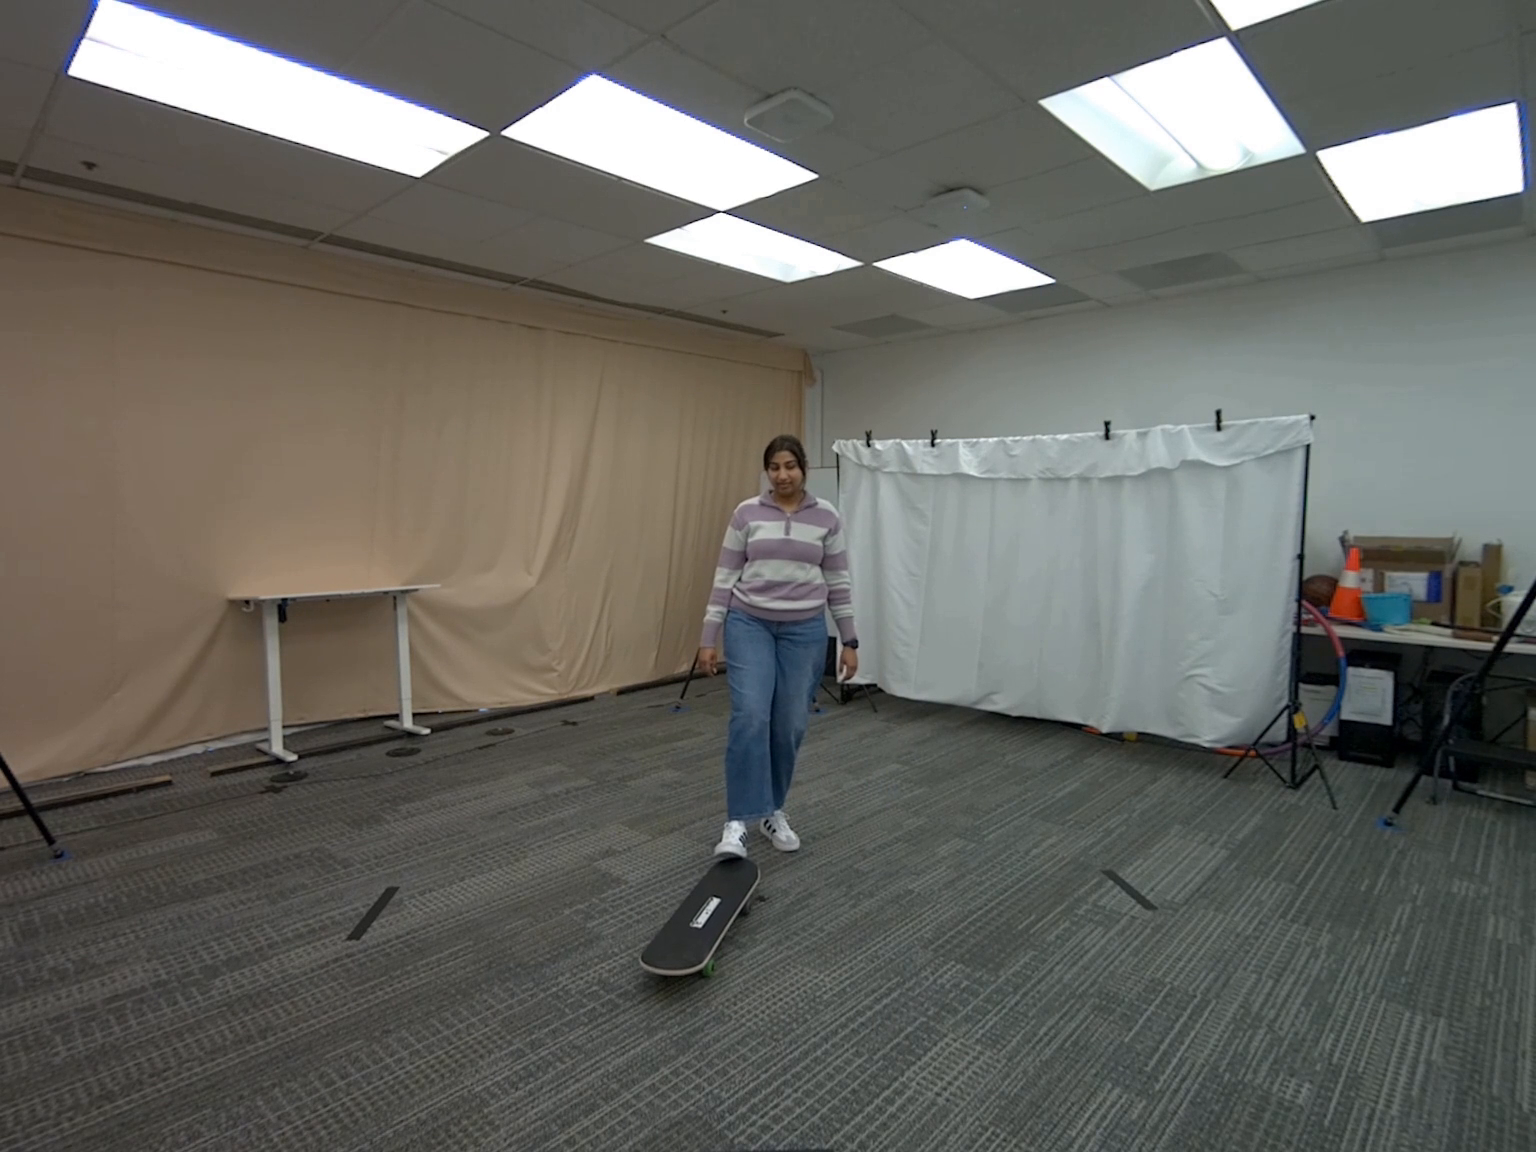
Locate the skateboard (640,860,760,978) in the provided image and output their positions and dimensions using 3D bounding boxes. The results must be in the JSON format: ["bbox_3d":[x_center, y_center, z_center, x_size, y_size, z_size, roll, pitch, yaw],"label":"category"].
[{"bbox_3d":[-0.199,1.109,2.703,0.197,0.110,0.772,0,4,16],"label":"skateboard"}]
